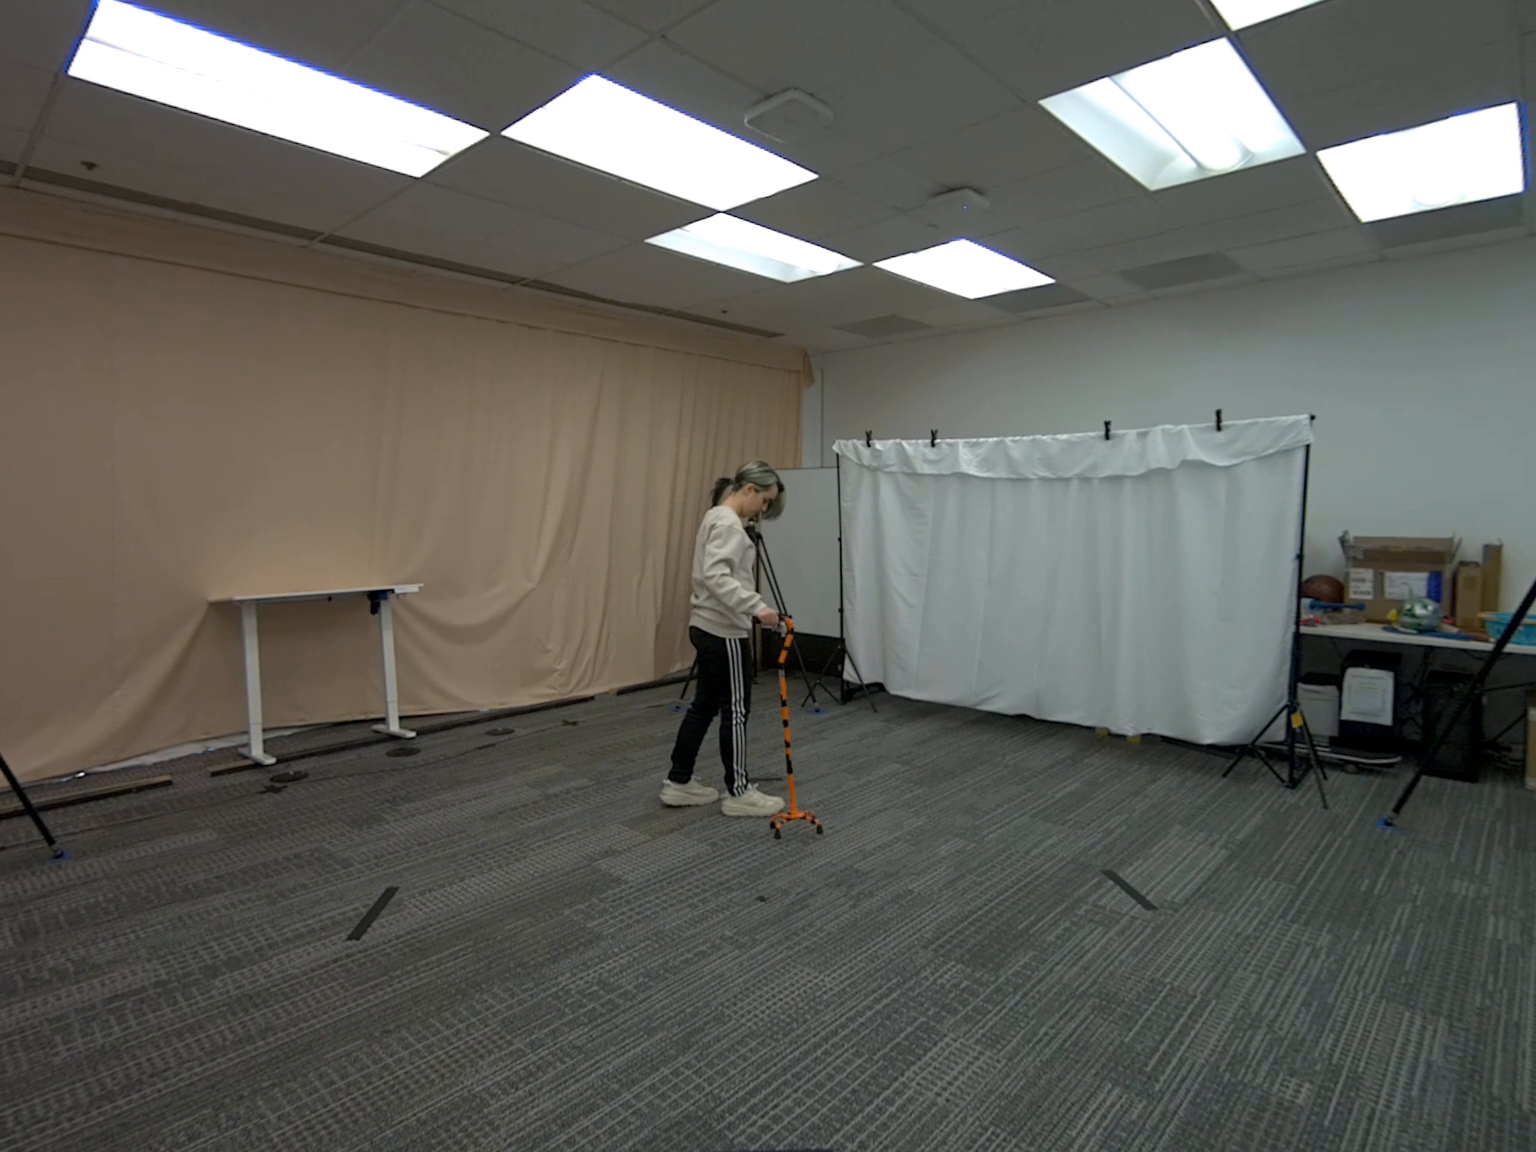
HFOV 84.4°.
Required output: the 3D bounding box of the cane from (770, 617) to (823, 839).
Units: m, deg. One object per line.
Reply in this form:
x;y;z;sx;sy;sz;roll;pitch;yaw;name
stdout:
0.079;0.617;3.517;0.205;0.907;0.153;-4;1;-9;cane
